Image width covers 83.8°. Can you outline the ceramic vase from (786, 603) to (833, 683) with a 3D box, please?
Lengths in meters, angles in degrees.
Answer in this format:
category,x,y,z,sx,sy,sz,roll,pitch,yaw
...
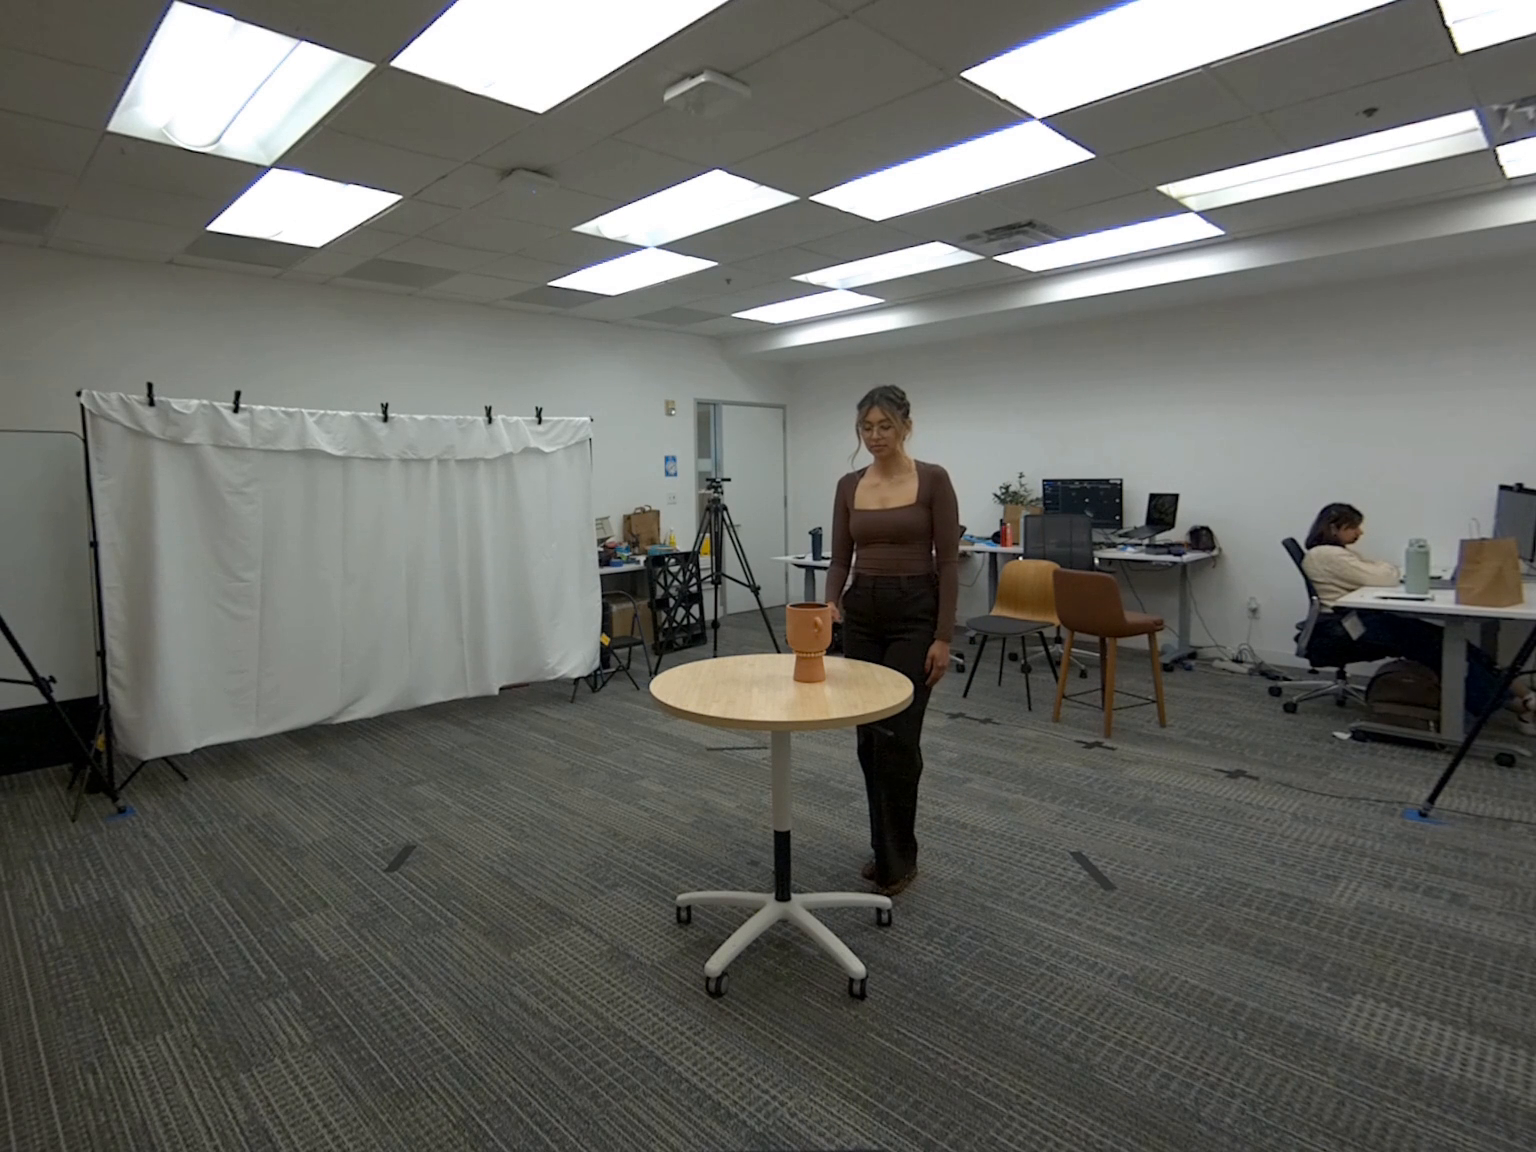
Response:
category,x,y,z,sx,sy,sz,roll,pitch,yaw
ceramic vase,0.129,0.199,2.534,0.137,0.219,0.156,2,6,23
